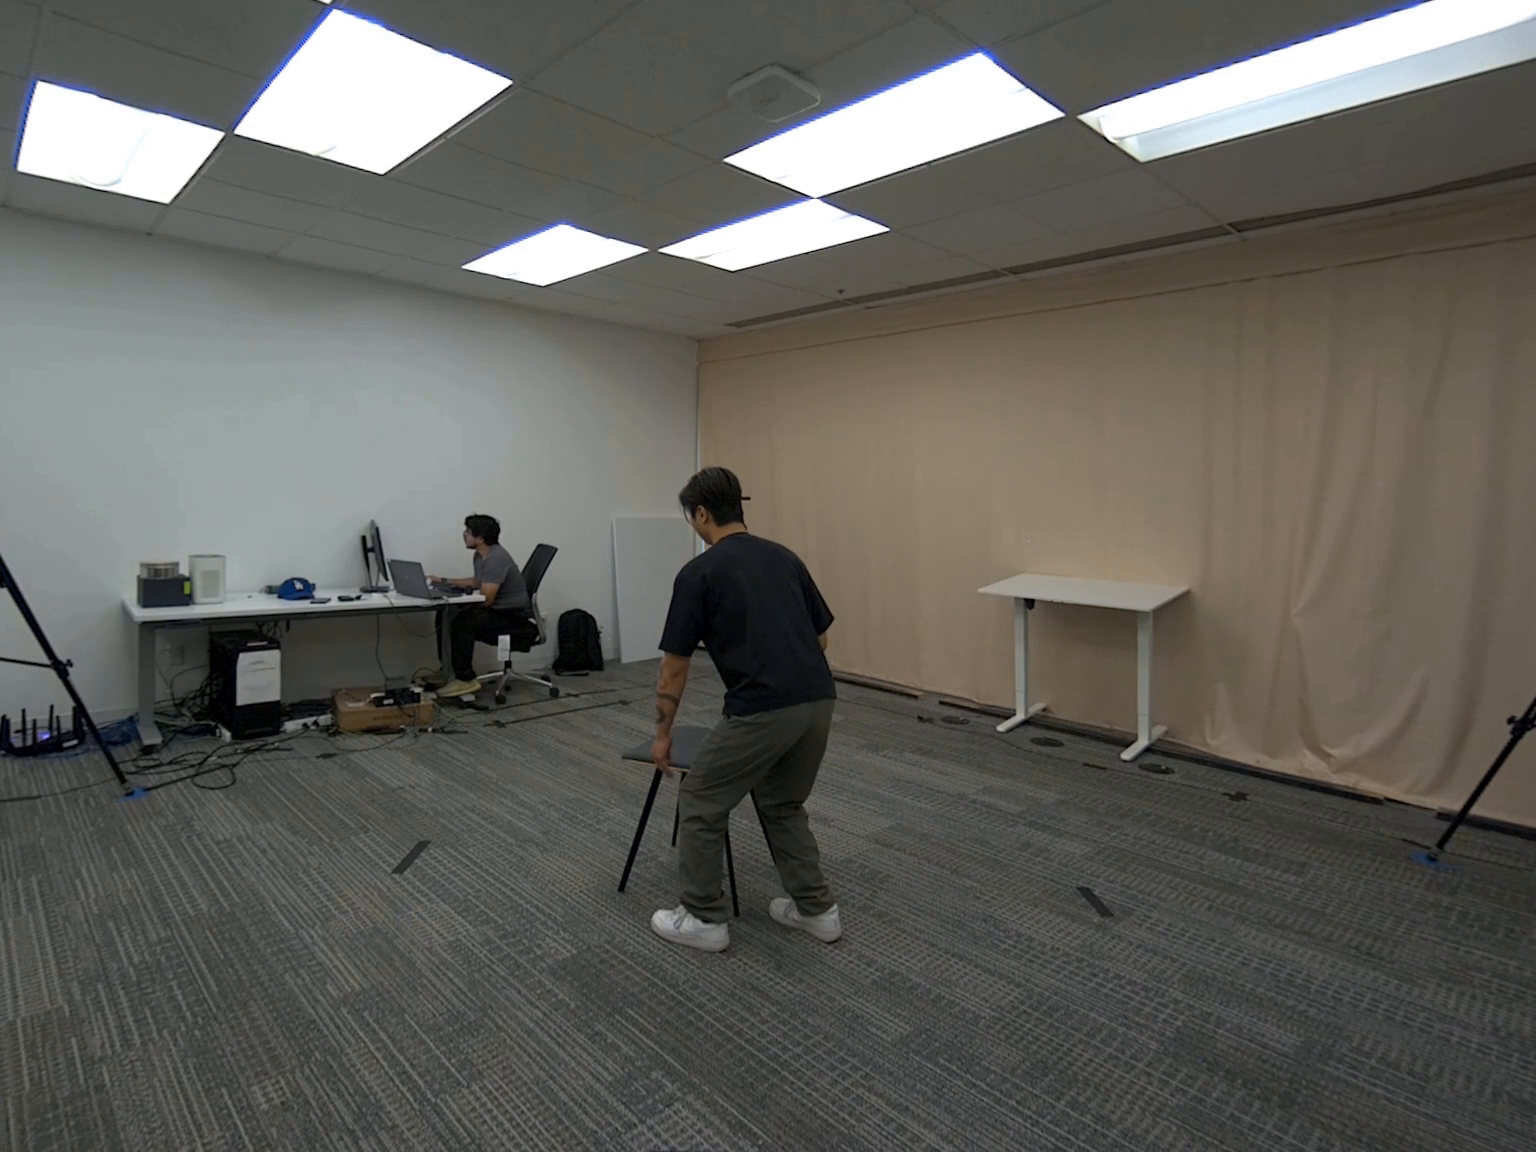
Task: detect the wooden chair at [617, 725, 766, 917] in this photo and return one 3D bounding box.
[{"bbox_3d":[-0.241,0.683,3.054,0.532,0.874,0.471,7,6,20],"label":"wooden chair"}]
